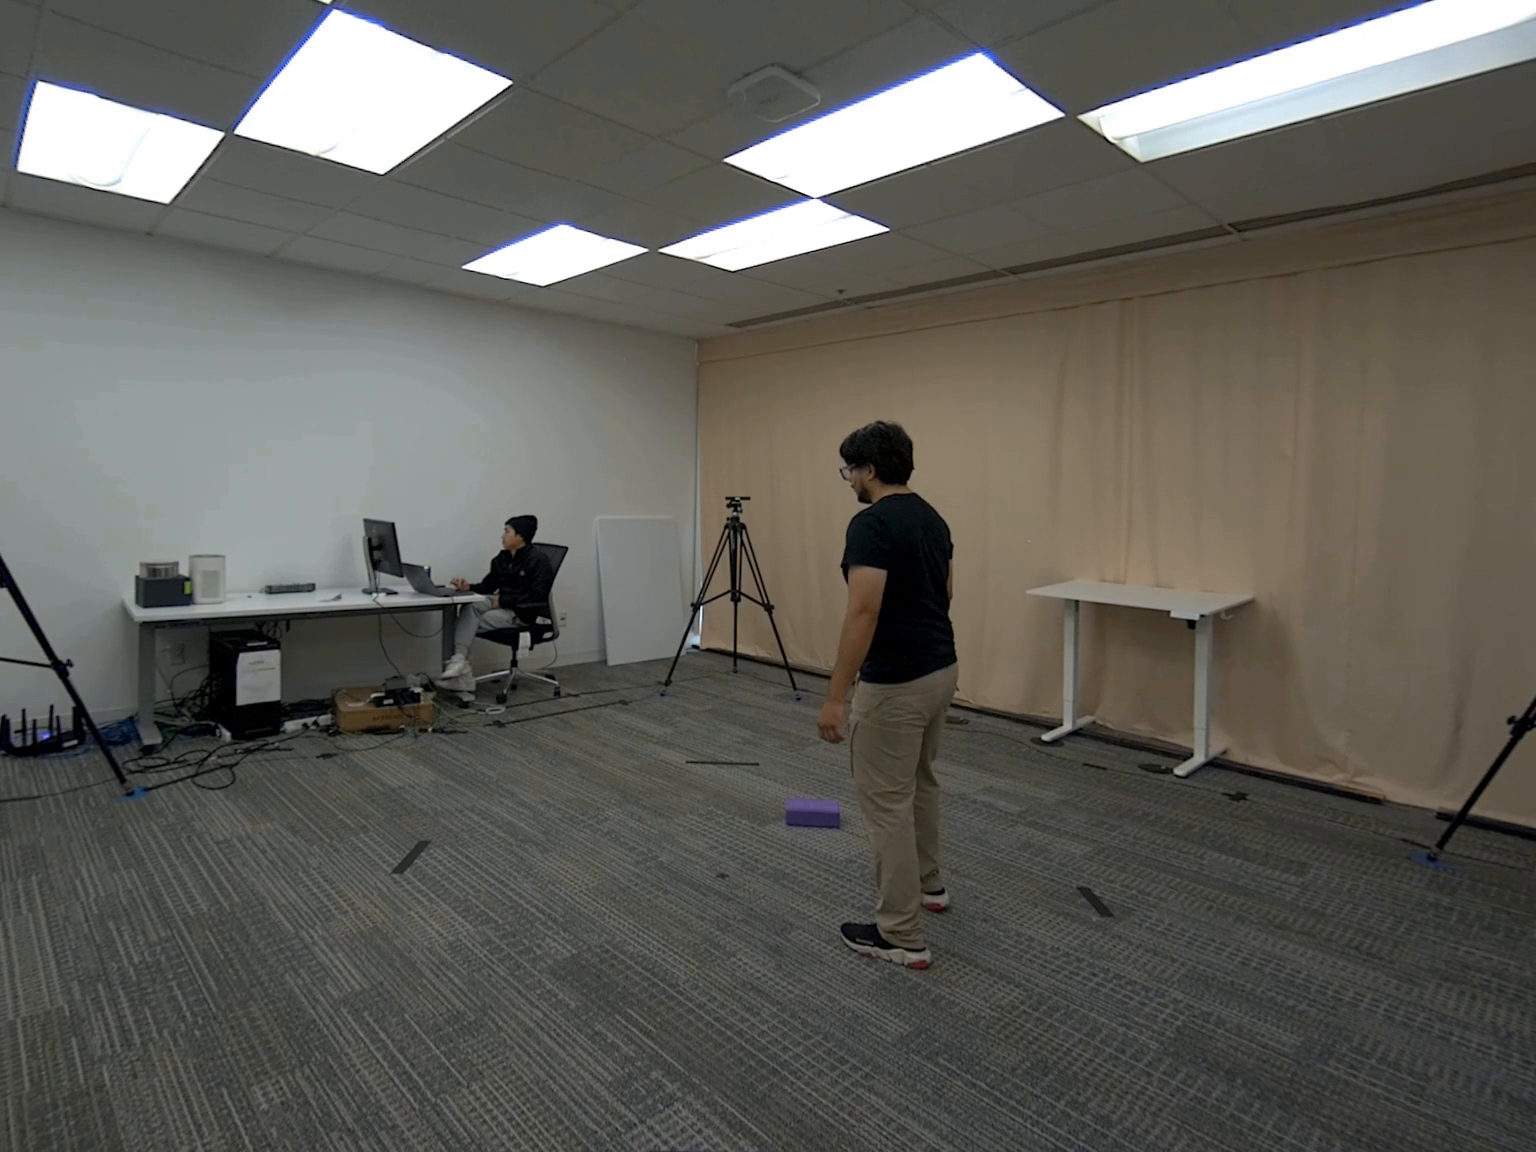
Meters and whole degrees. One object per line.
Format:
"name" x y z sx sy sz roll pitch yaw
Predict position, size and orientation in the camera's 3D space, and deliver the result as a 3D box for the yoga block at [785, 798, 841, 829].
"yoga block" 0.182 1.026 3.661 0.230 0.076 0.149 2 8 4
